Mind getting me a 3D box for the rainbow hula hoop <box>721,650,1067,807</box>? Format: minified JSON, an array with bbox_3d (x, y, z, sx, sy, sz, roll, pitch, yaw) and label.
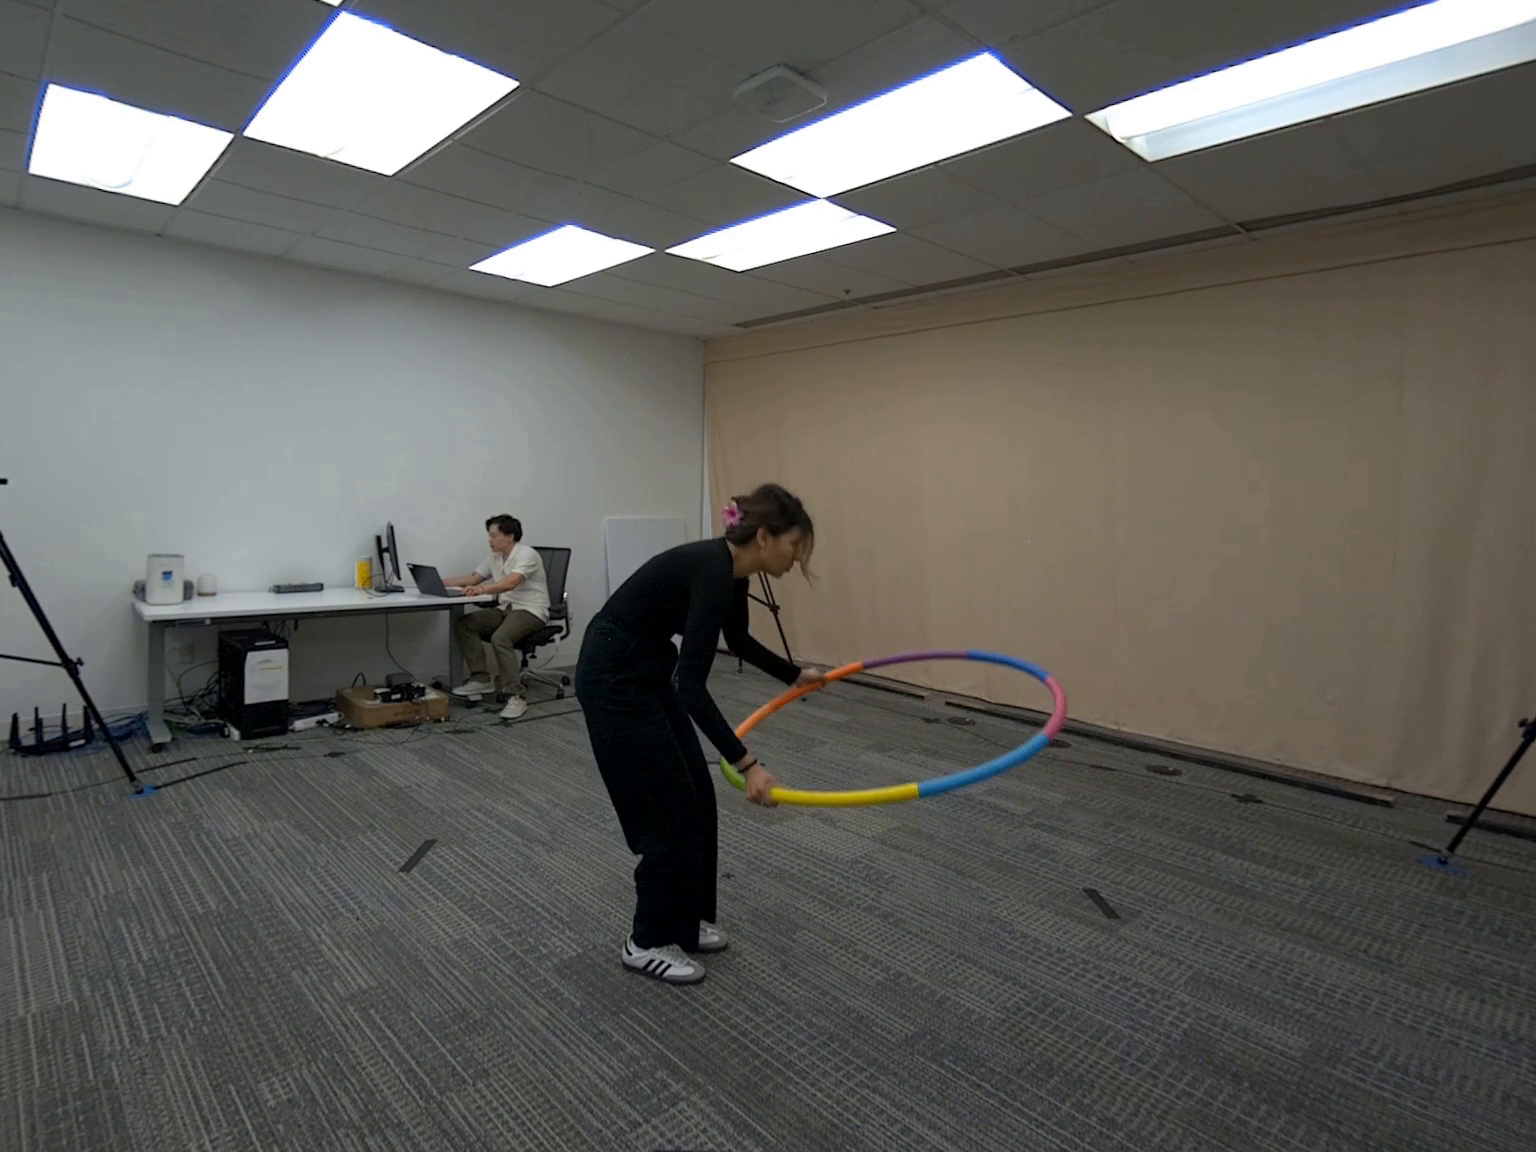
[{"bbox_3d":[0.325,0.422,2.417,0.986,0.051,0.994,-15,12,1],"label":"rainbow hula hoop"}]
